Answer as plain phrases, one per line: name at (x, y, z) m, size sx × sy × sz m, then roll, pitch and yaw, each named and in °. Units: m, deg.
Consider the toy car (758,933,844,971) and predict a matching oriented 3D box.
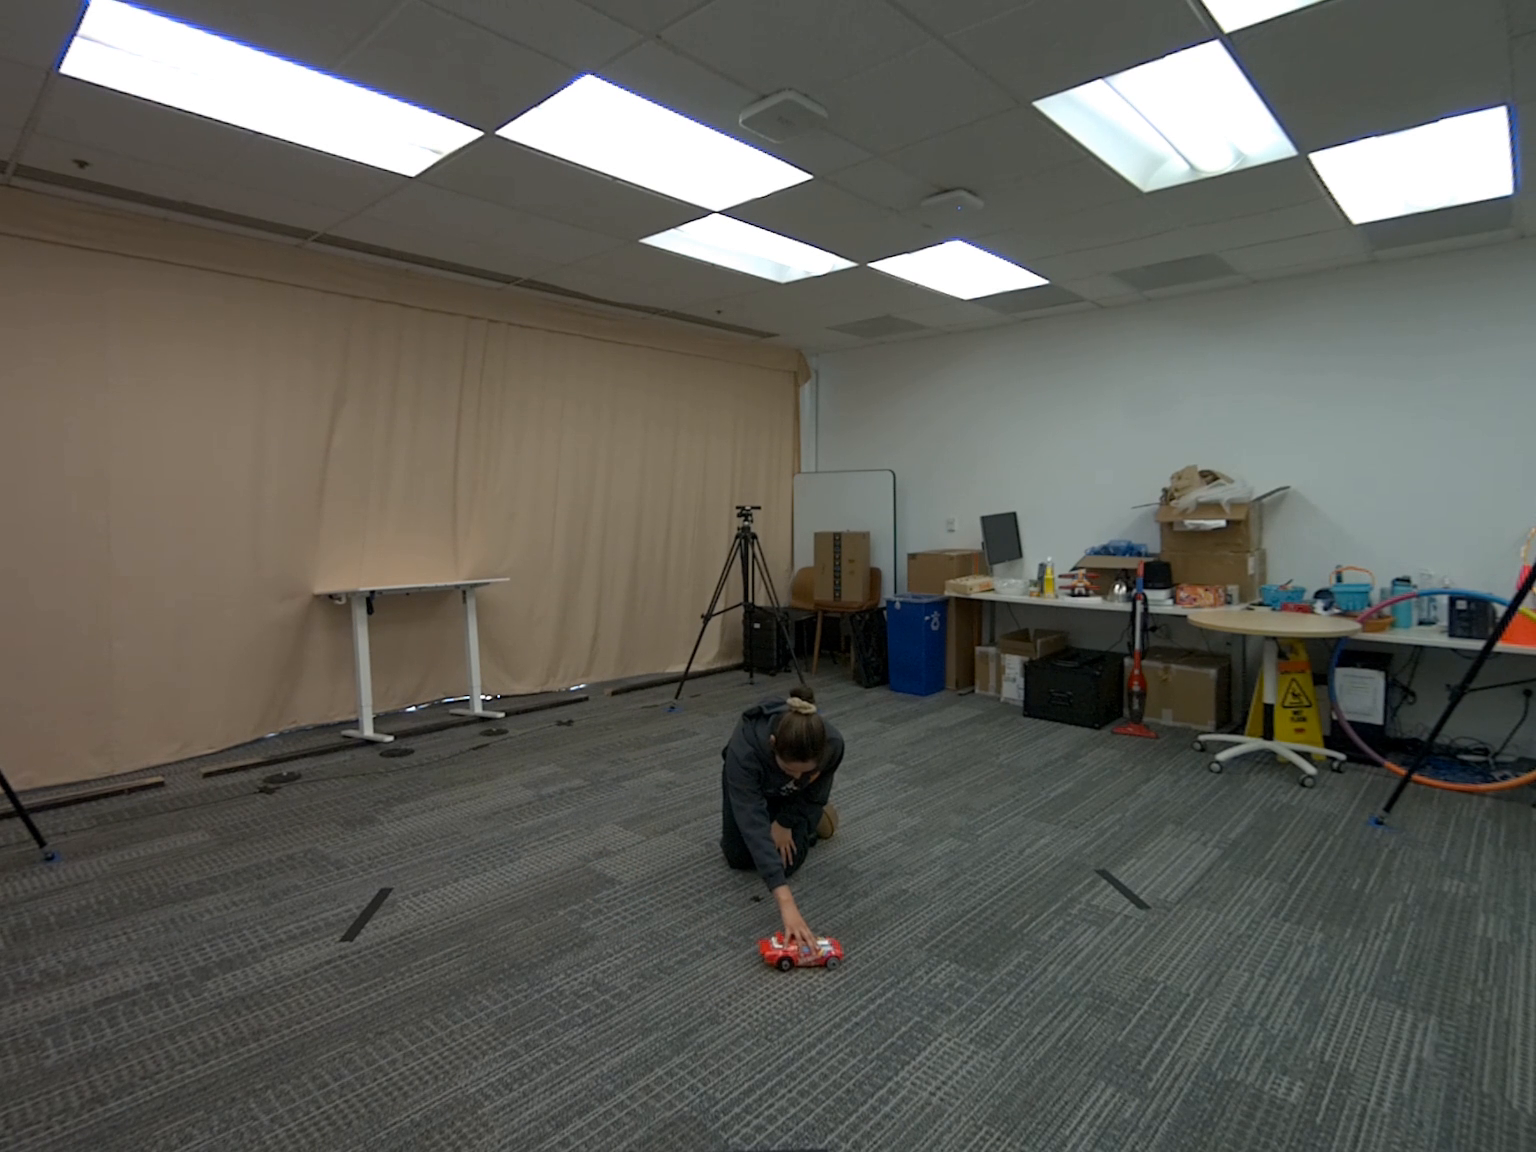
toy car at (0.094, 1.136, 2.574) m, size 0.254 × 0.083 × 0.131 m, roll 12°, pitch 5°, yaw -4°
